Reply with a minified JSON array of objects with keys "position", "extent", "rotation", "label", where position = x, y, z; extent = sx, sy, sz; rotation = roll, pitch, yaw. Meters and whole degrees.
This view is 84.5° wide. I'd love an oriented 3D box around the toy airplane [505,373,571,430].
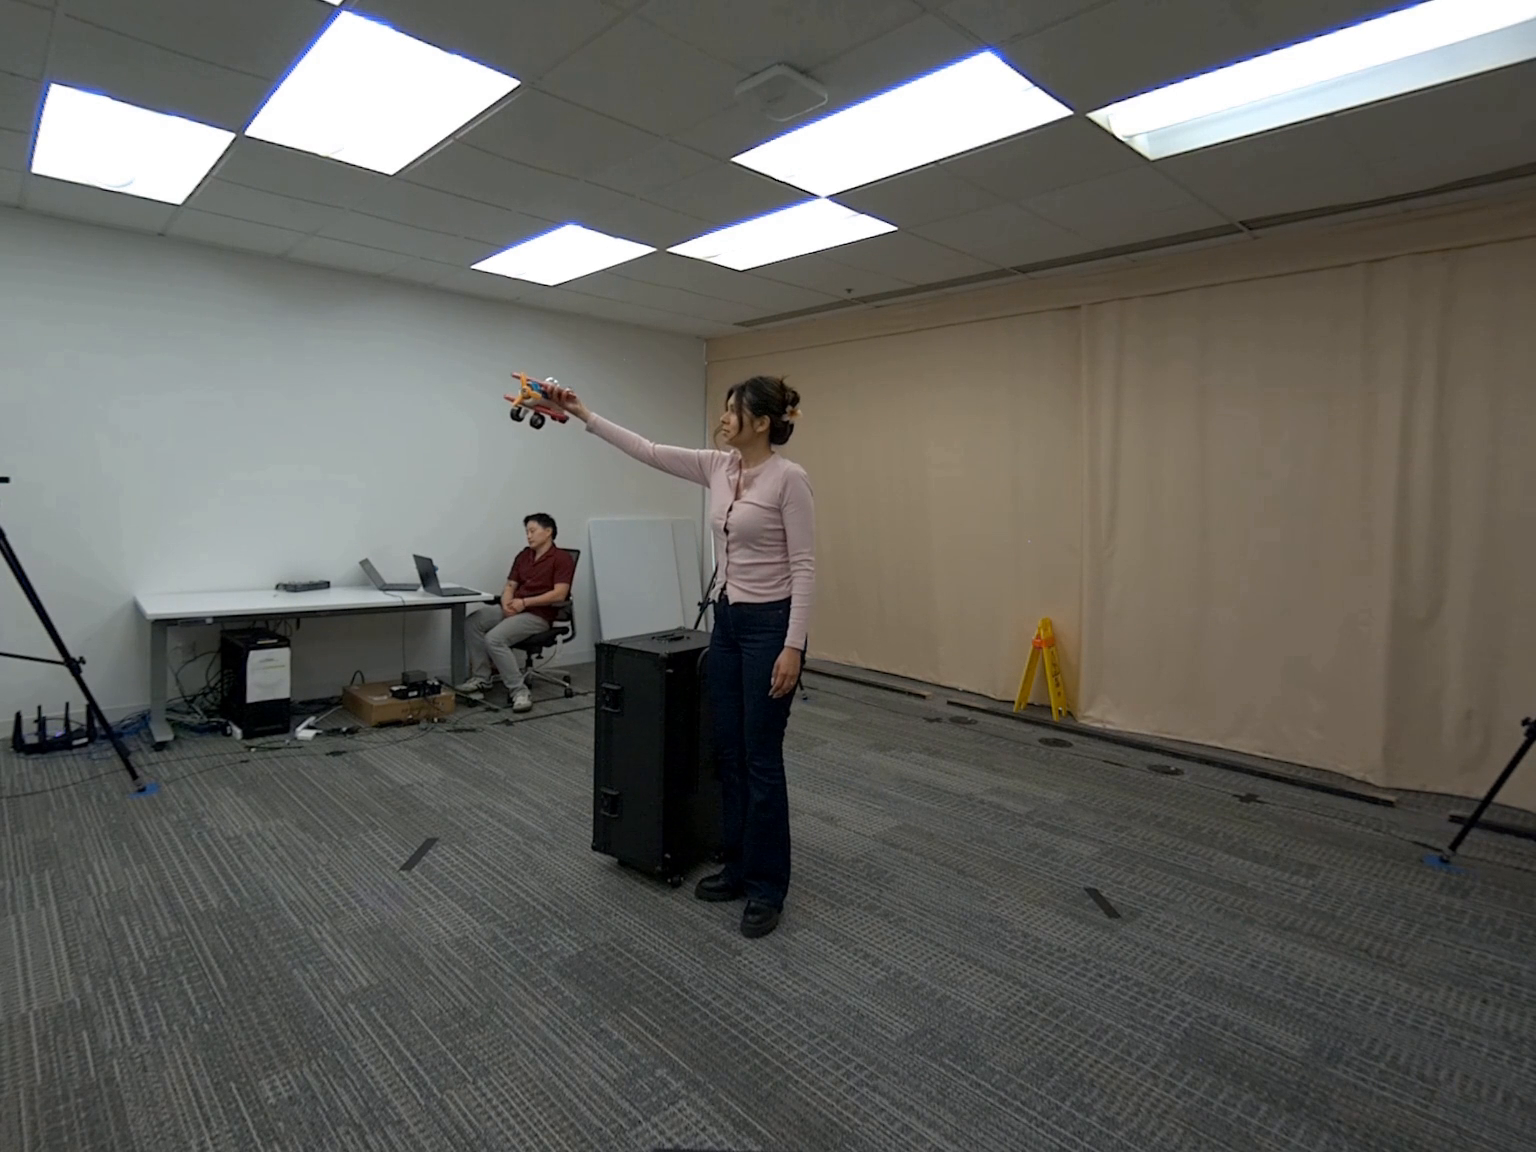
[{"position":[-0.800,-0.610,2.932],"extent":[0.249,0.155,0.263],"rotation":[14,19,-9],"label":"toy airplane"}]
